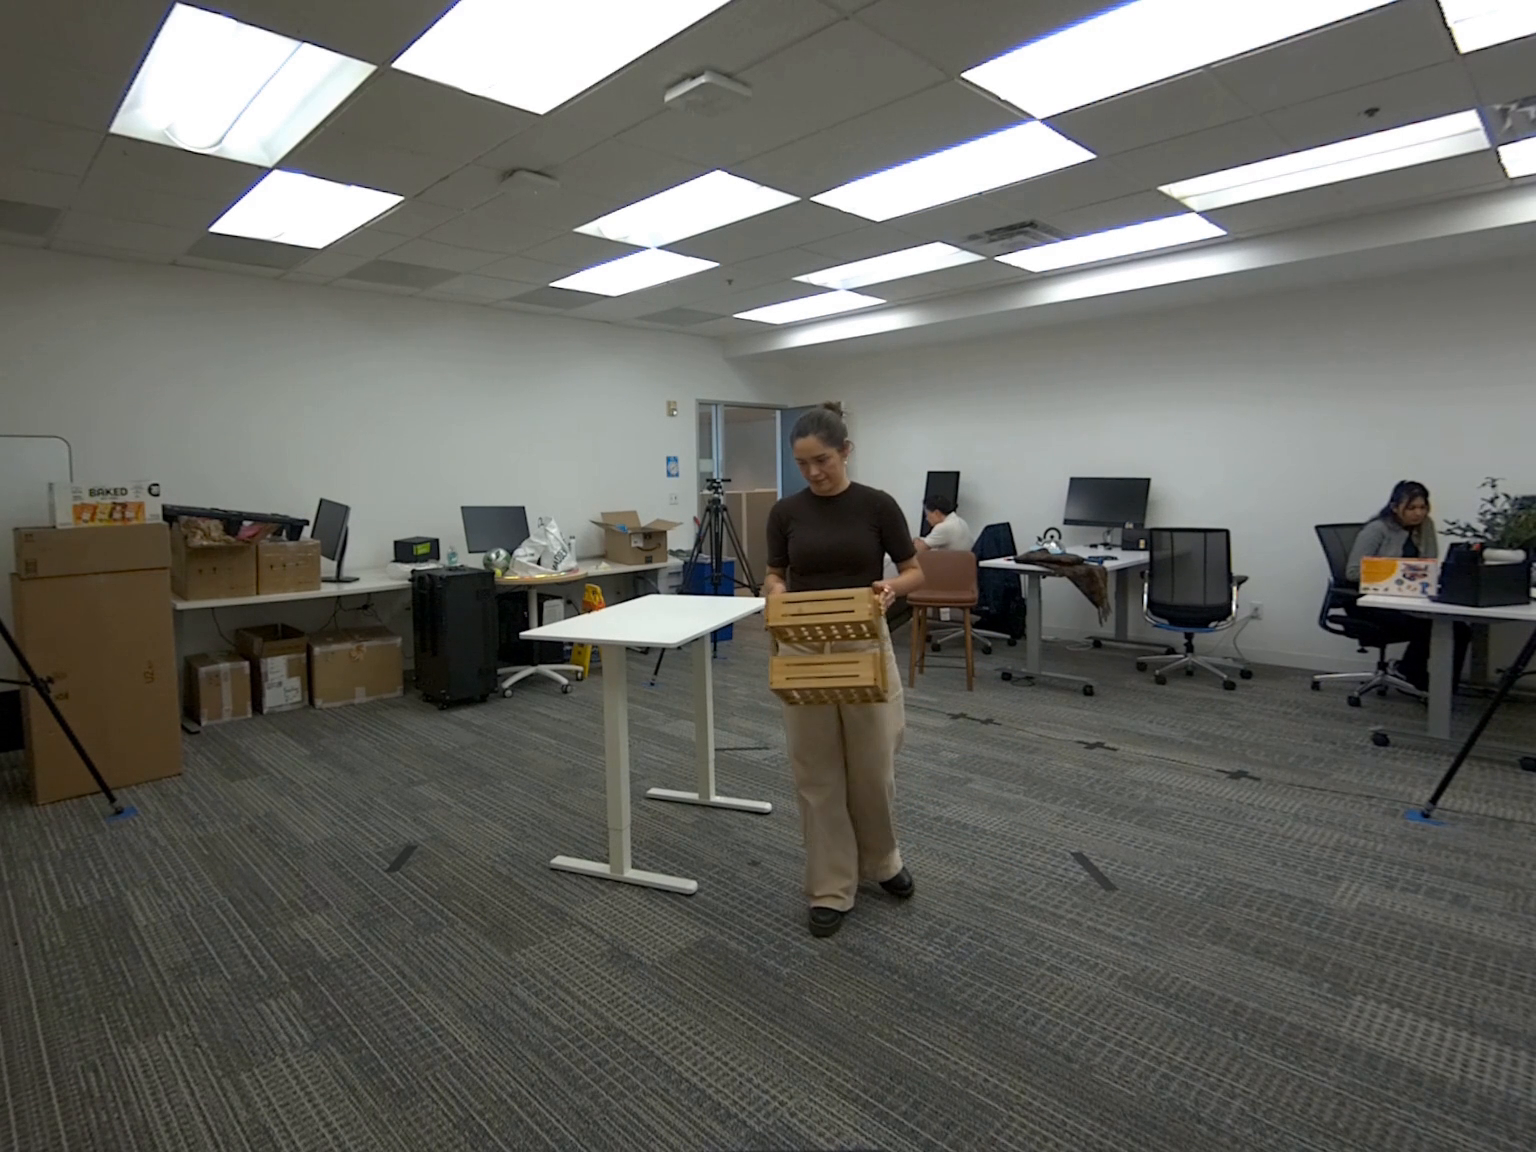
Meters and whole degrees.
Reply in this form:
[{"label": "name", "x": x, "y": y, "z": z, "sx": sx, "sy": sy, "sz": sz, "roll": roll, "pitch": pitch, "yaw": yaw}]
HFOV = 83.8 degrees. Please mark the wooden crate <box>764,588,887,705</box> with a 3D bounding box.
[{"label": "wooden crate", "x": 0.171, "y": 0.213, "z": 2.469, "sx": 0.329, "sy": 0.278, "sz": 0.292, "roll": -5, "pitch": -22, "yaw": 15}]
